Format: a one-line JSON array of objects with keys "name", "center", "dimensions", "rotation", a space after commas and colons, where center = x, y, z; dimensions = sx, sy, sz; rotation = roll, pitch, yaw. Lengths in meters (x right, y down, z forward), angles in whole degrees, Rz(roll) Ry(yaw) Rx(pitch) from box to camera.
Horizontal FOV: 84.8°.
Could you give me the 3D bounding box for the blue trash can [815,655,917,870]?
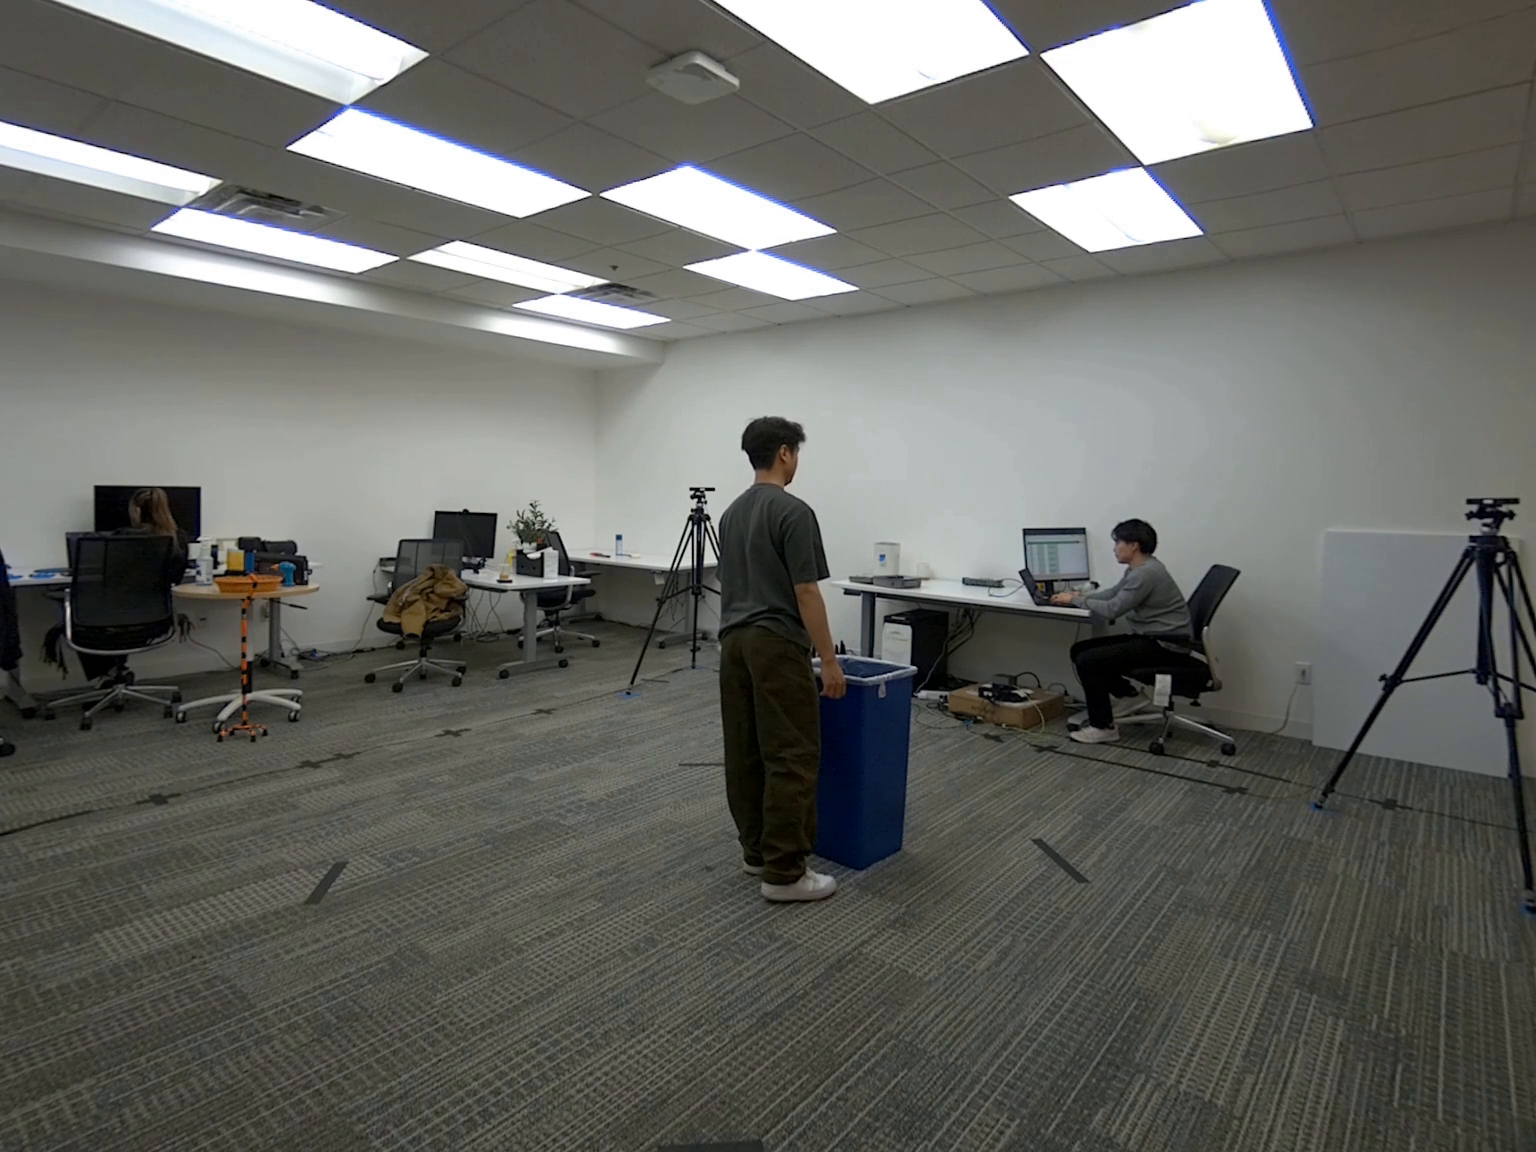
[{"name": "blue trash can", "center": [0.314, 0.699, 3.310], "dimensions": [0.387, 0.712, 0.366], "rotation": [5, 4, 42]}]
